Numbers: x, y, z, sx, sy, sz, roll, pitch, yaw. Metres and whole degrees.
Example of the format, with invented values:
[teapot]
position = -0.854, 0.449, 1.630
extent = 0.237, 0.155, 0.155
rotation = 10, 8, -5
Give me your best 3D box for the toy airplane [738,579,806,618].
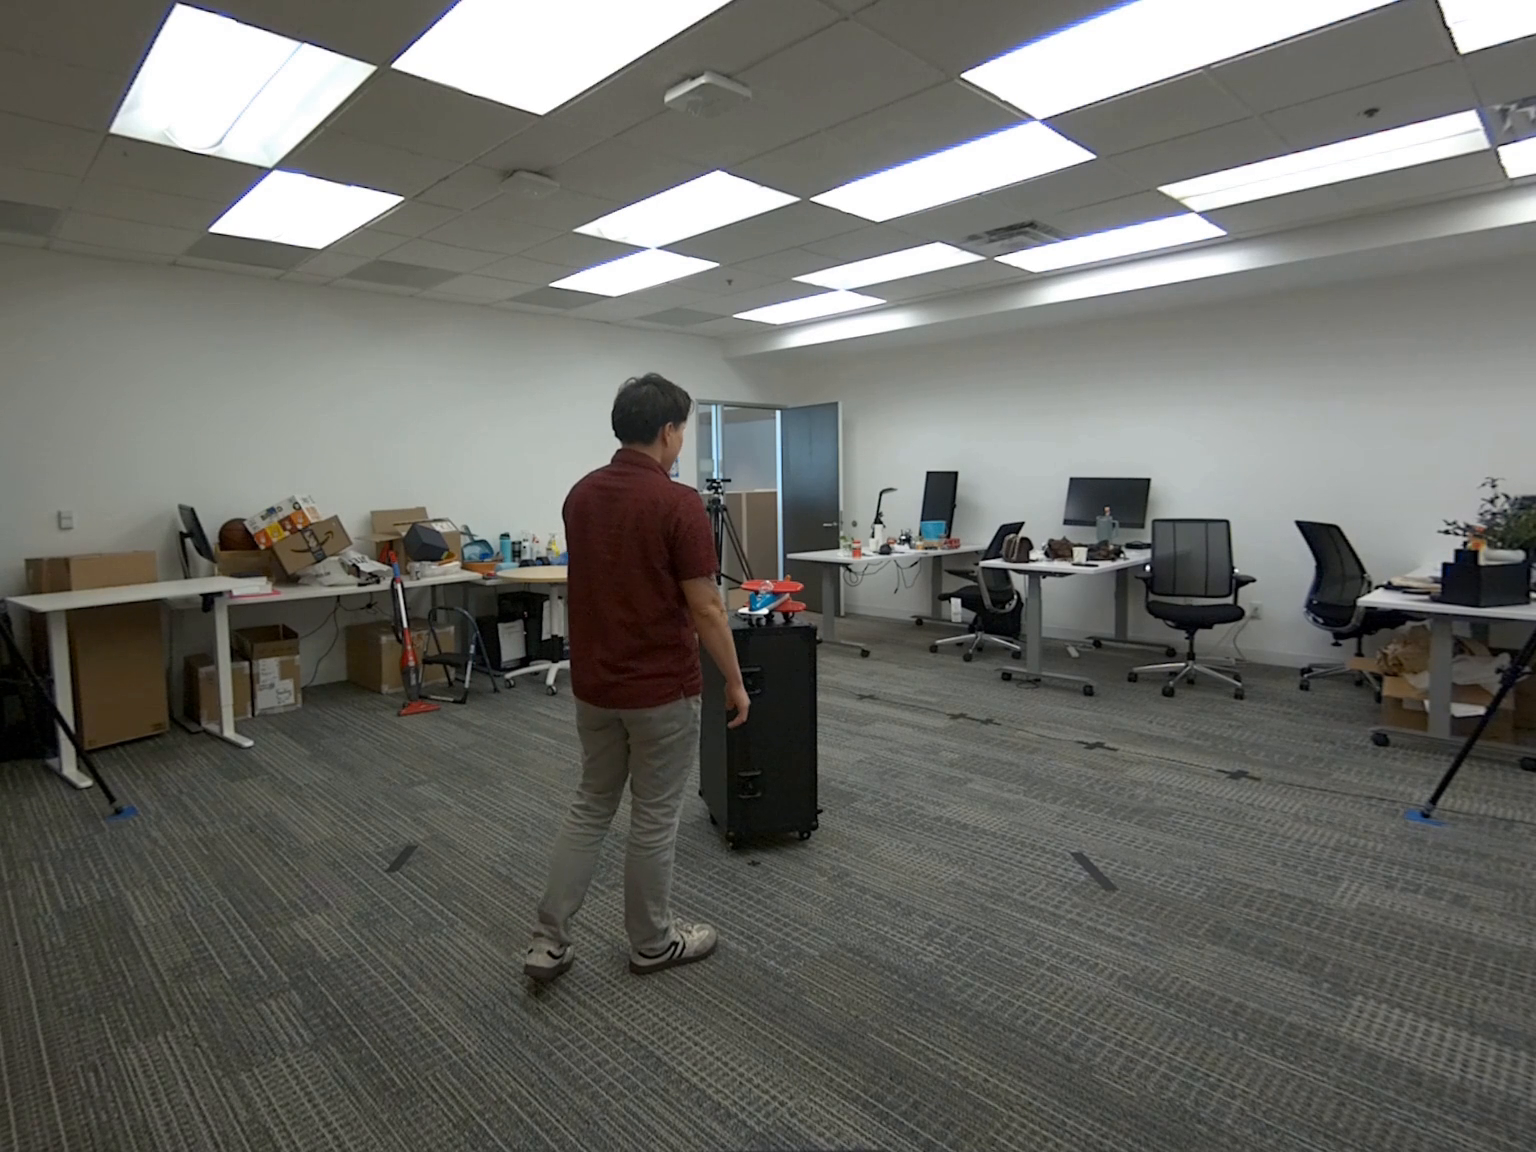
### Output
[toy airplane]
position = 0.020, 0.099, 3.211
extent = 0.252, 0.156, 0.259
rotation = -1, 4, 3
